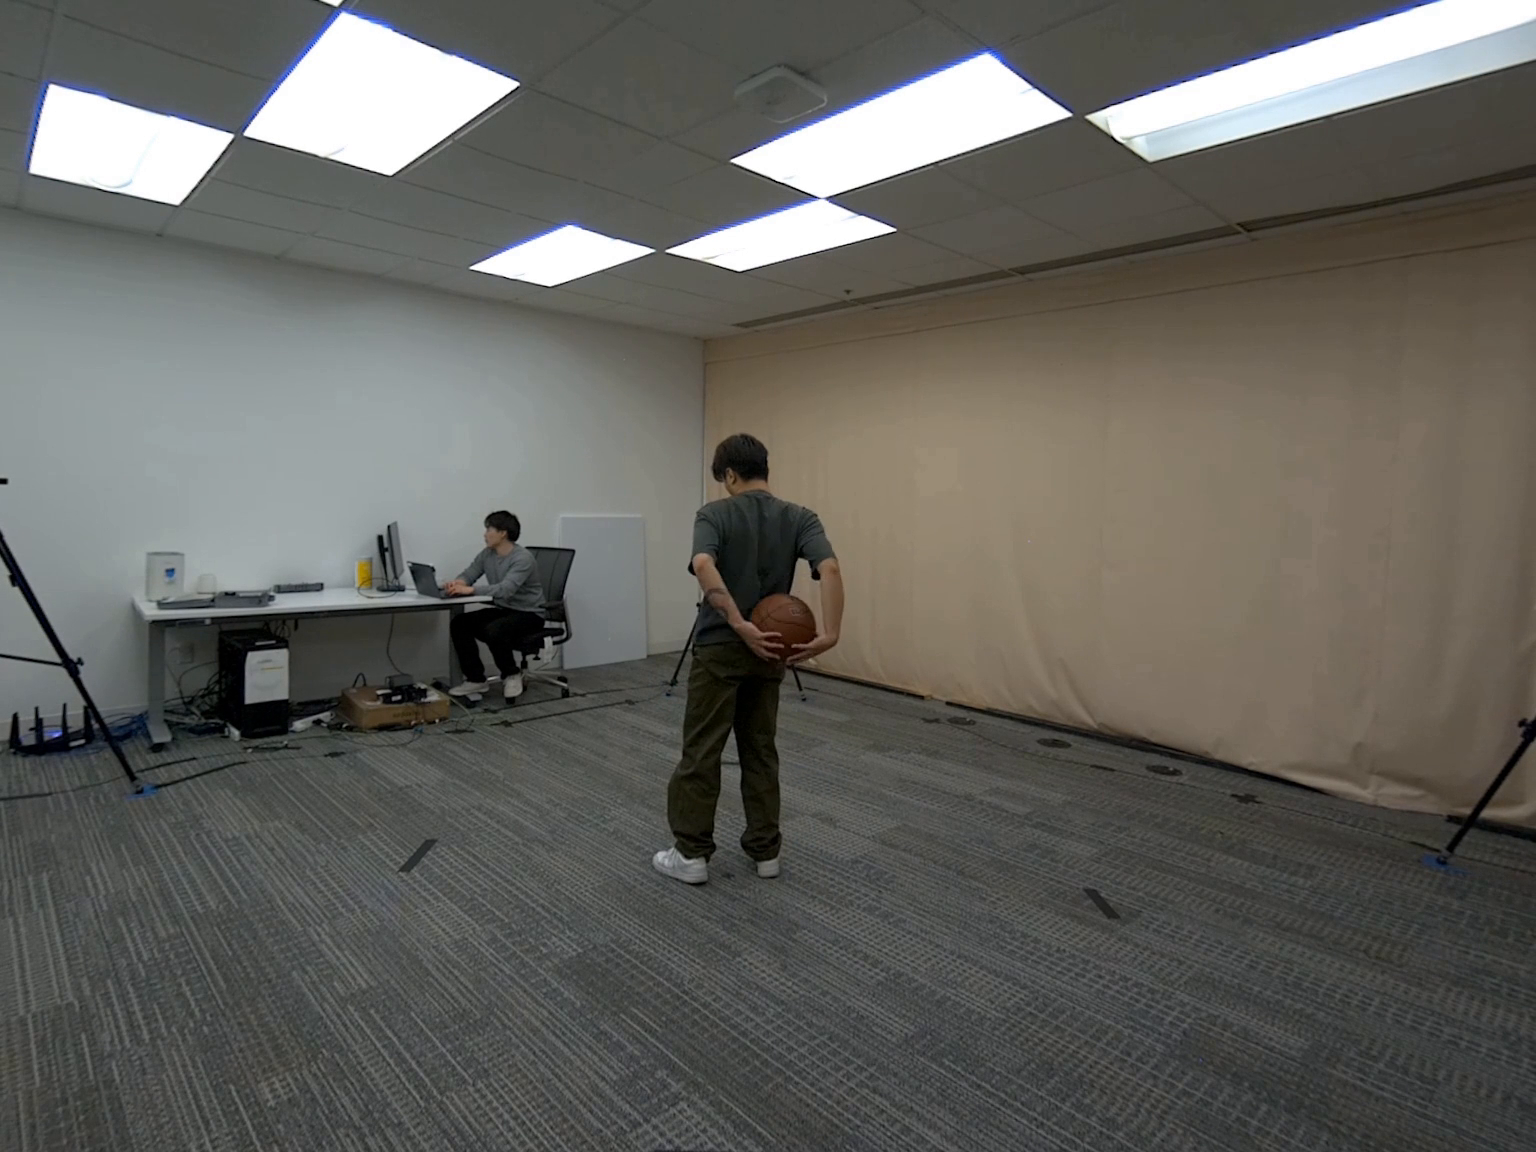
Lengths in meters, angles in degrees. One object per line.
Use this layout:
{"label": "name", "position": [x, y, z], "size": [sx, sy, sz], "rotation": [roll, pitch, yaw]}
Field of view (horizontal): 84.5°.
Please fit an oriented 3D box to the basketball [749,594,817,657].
{"label": "basketball", "position": [0.034, 0.171, 2.963], "size": [0.236, 0.235, 0.237], "rotation": [1, 4, -1]}
